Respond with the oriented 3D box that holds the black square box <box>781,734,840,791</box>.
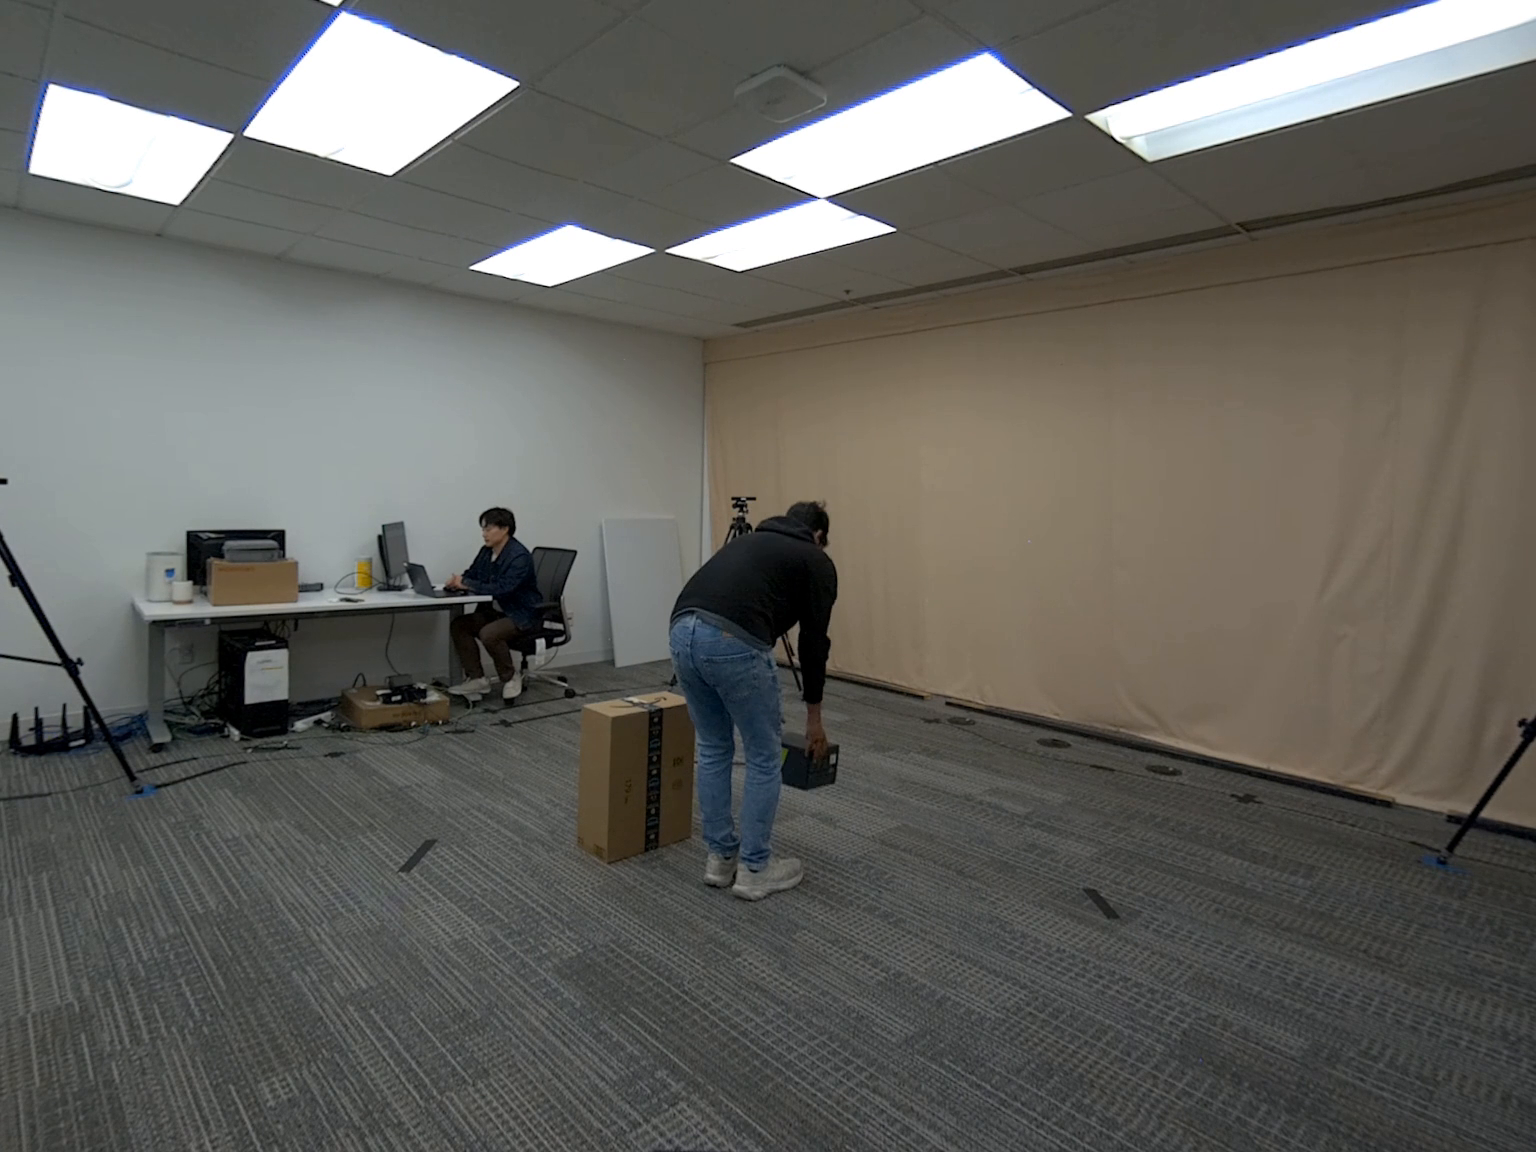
[{"bbox_3d":[0.110,0.726,3.328,0.233,0.156,0.211,6,0,37],"label":"black square box"}]
